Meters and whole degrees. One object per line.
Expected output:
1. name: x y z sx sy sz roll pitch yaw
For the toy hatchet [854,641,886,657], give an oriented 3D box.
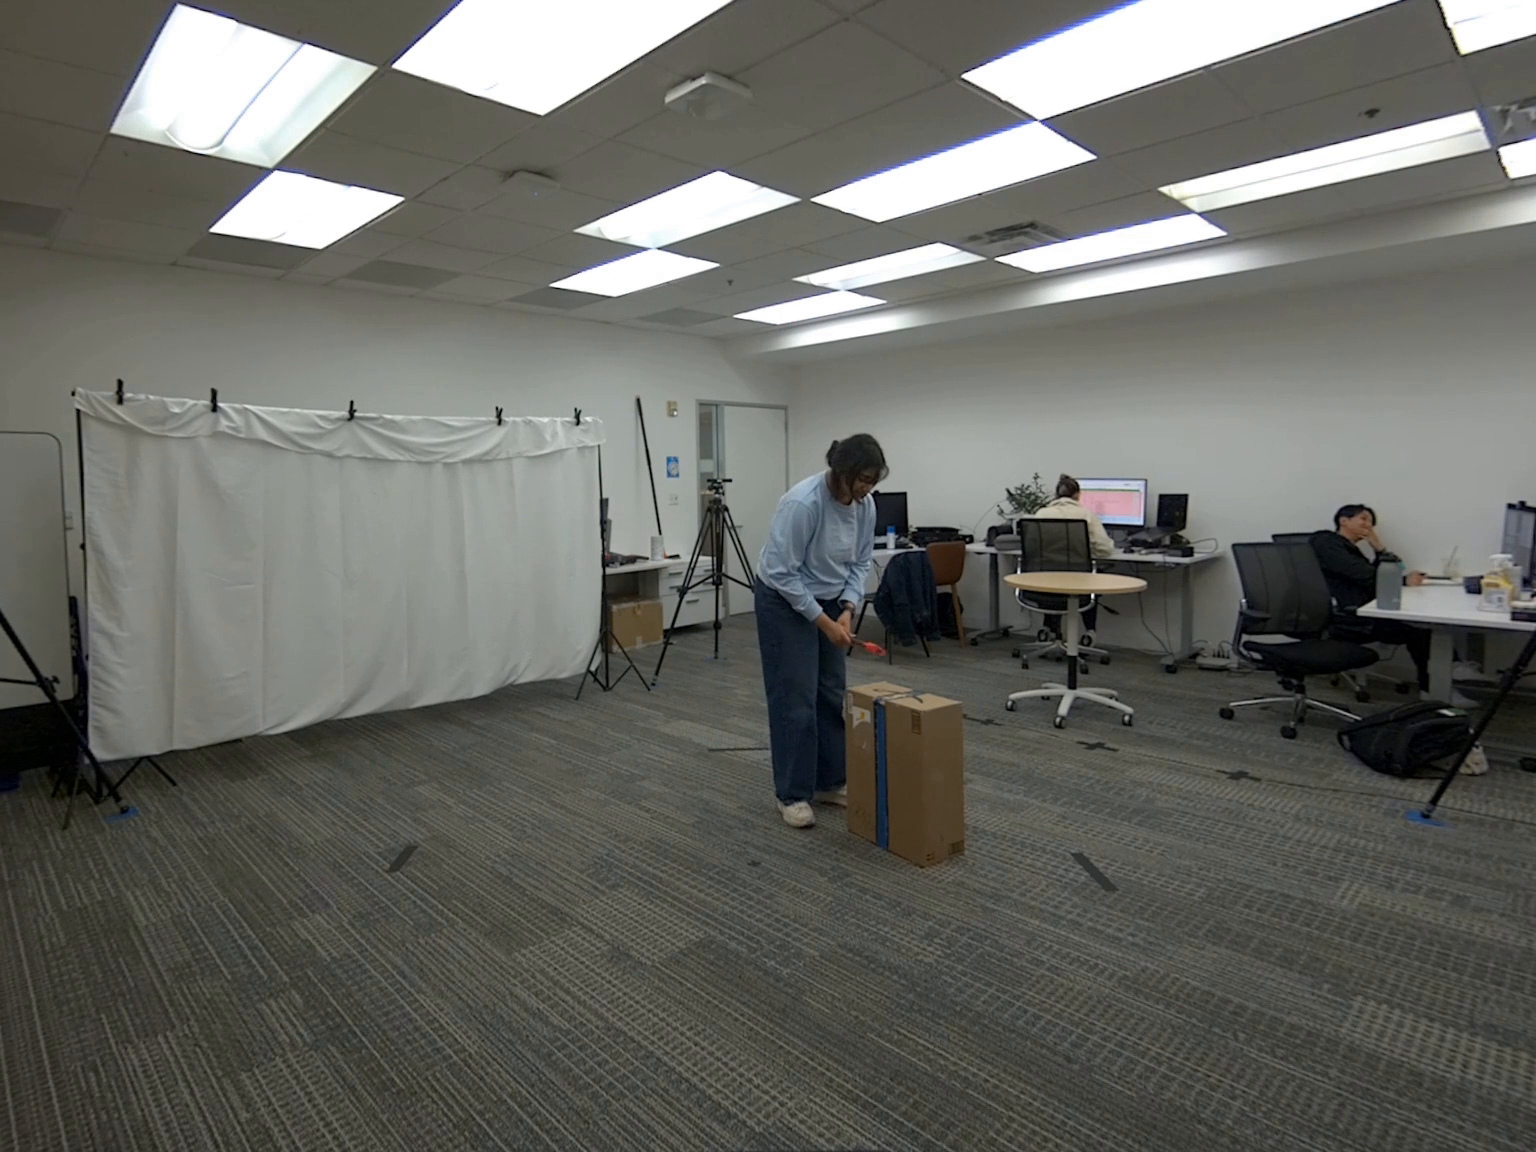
1. toy hatchet: 0.364 0.266 3.352 0.128 0.029 0.276 22 -3 -21
